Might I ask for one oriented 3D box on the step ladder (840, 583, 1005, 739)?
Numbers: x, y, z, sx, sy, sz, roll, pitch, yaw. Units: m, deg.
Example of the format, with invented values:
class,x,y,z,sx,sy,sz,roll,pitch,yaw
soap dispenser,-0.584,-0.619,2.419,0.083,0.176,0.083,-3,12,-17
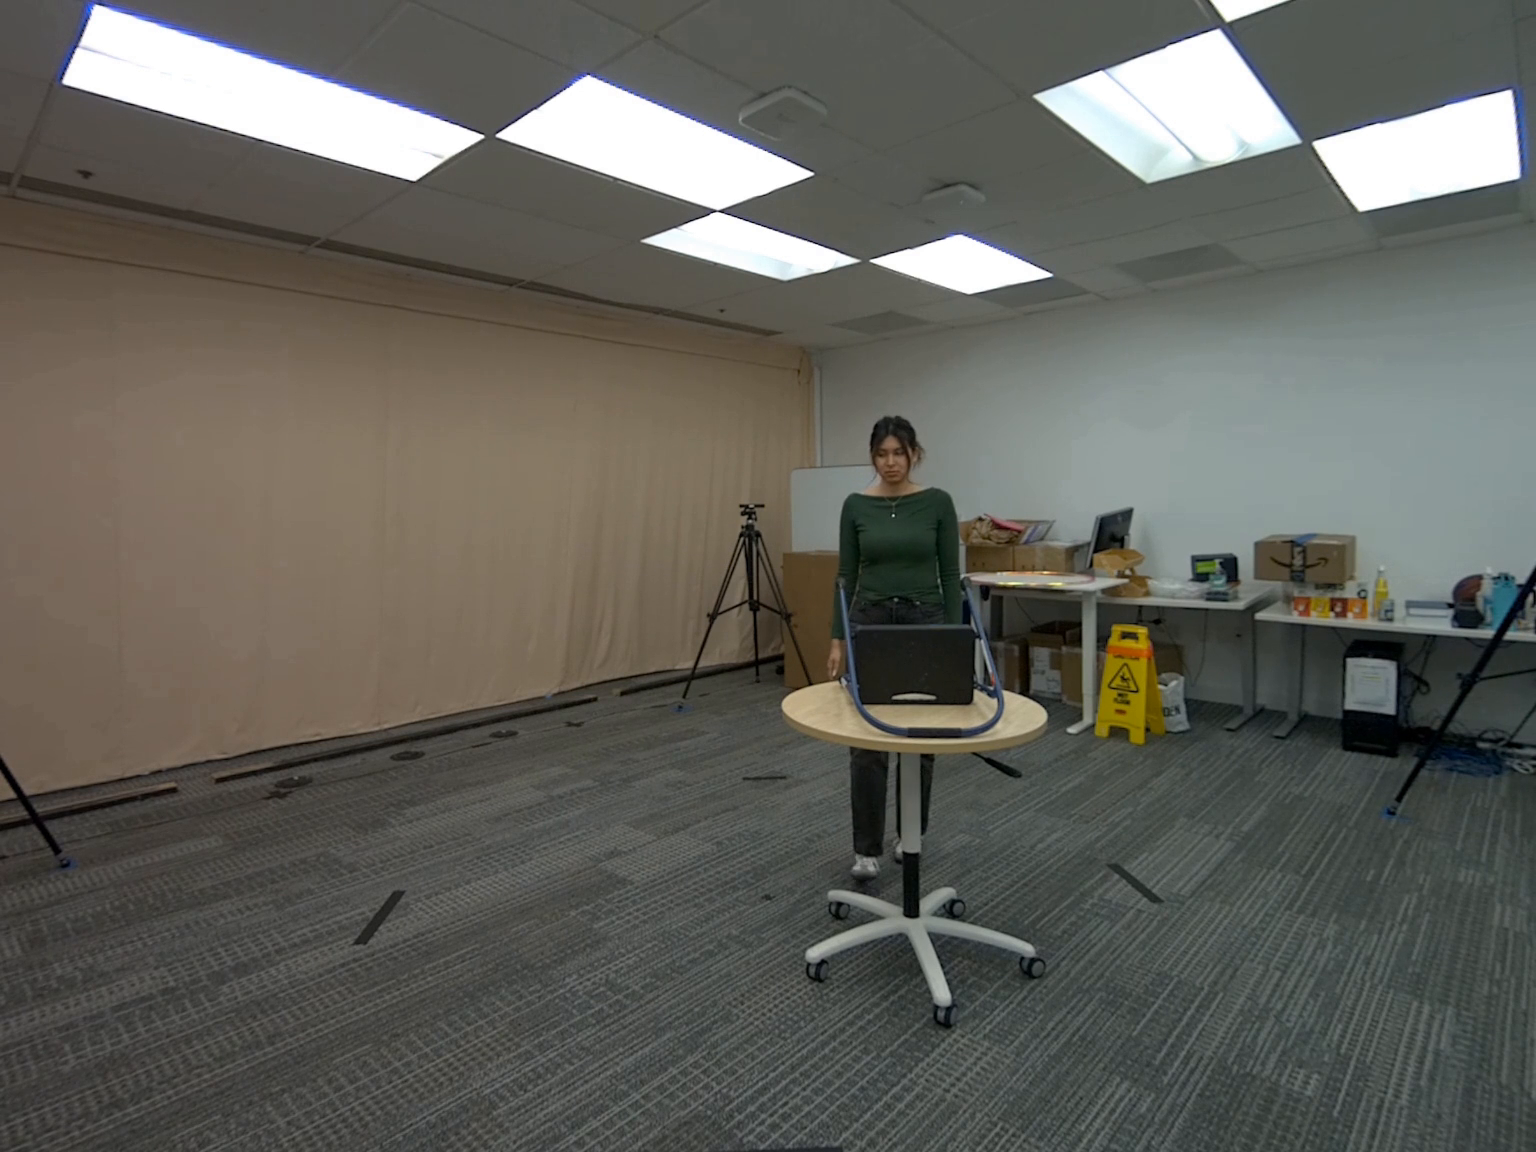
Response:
class,x,y,z,sx,sy,sz,roll,pitch,yaw
step ladder,0.443,0.265,2.451,0.432,0.346,0.610,-1,15,3
